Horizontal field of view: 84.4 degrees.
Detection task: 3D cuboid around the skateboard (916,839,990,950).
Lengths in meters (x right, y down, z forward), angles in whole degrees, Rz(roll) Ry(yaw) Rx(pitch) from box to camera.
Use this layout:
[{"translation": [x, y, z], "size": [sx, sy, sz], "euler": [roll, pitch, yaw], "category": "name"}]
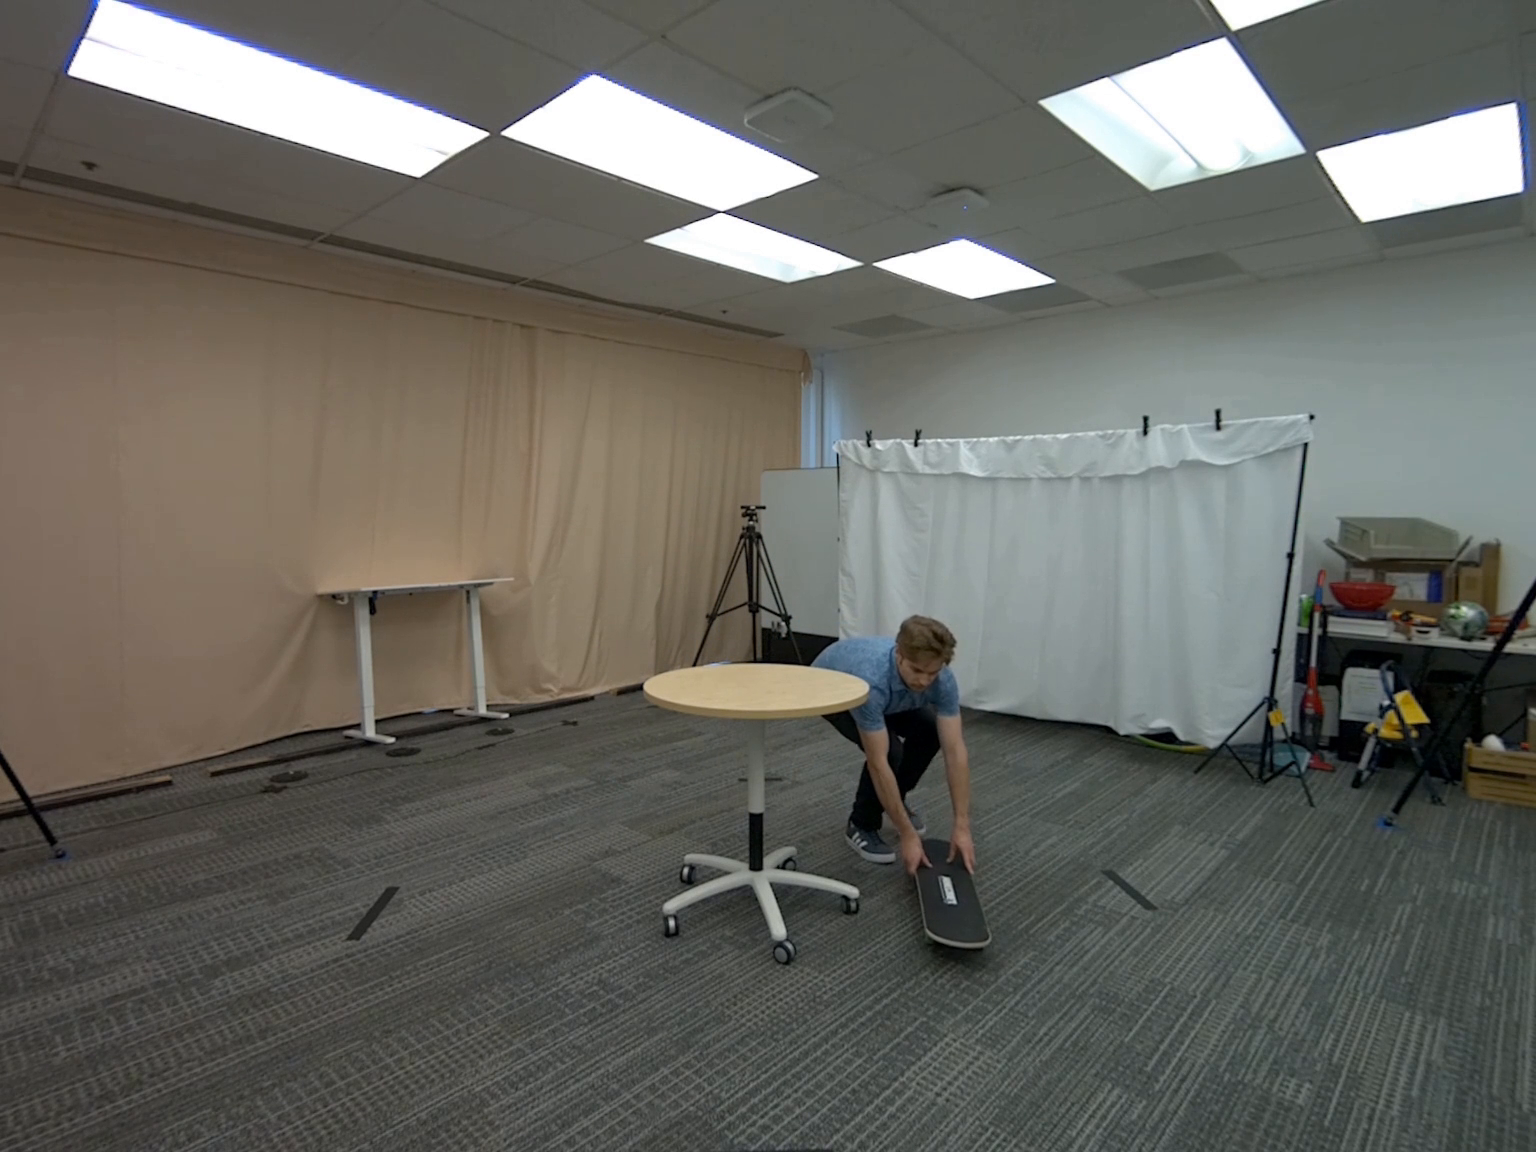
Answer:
[{"translation": [0.609, 1.096, 2.854], "size": [0.195, 0.110, 0.781], "euler": [1, 5, 5], "category": "skateboard"}]
